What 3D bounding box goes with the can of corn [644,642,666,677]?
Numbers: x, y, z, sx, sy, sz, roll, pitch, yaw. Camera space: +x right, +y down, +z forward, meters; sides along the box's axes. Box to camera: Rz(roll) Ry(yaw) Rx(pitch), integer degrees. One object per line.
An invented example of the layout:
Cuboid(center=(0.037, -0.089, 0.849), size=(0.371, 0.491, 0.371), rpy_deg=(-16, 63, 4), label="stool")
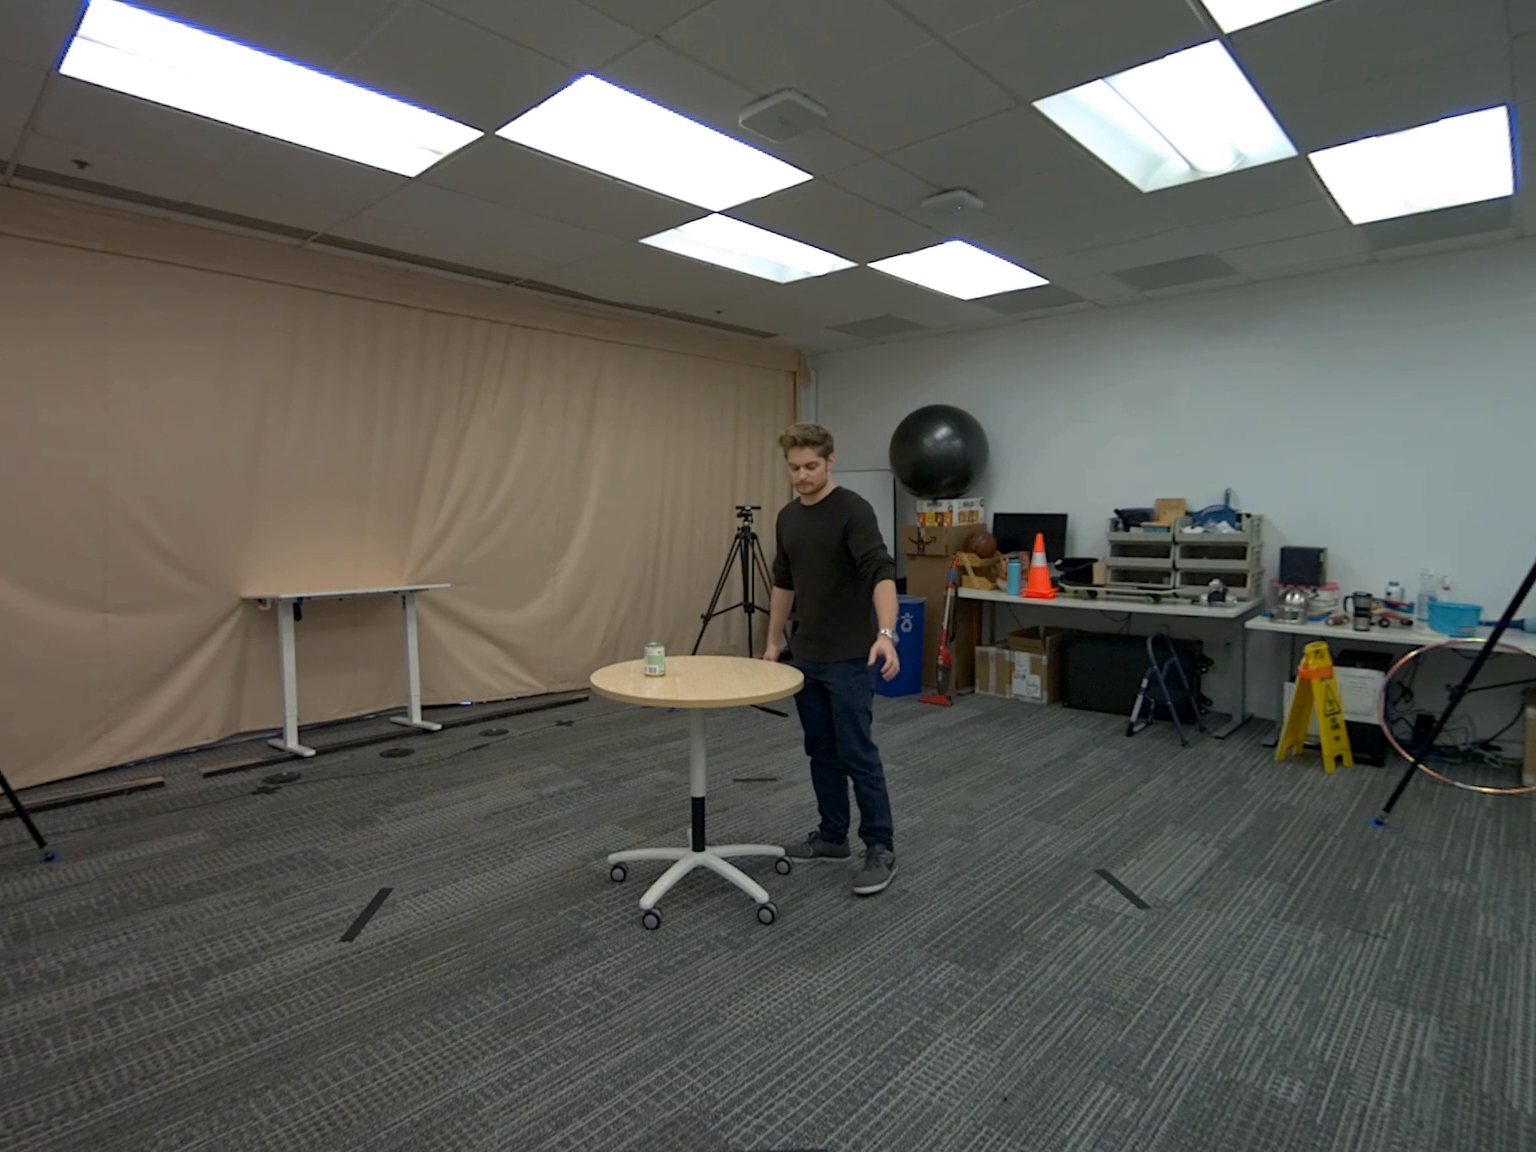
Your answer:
Cuboid(center=(-0.404, 0.302, 3.028), size=(0.074, 0.111, 0.074), rpy_deg=(-1, 2, -2), label="can of corn")
